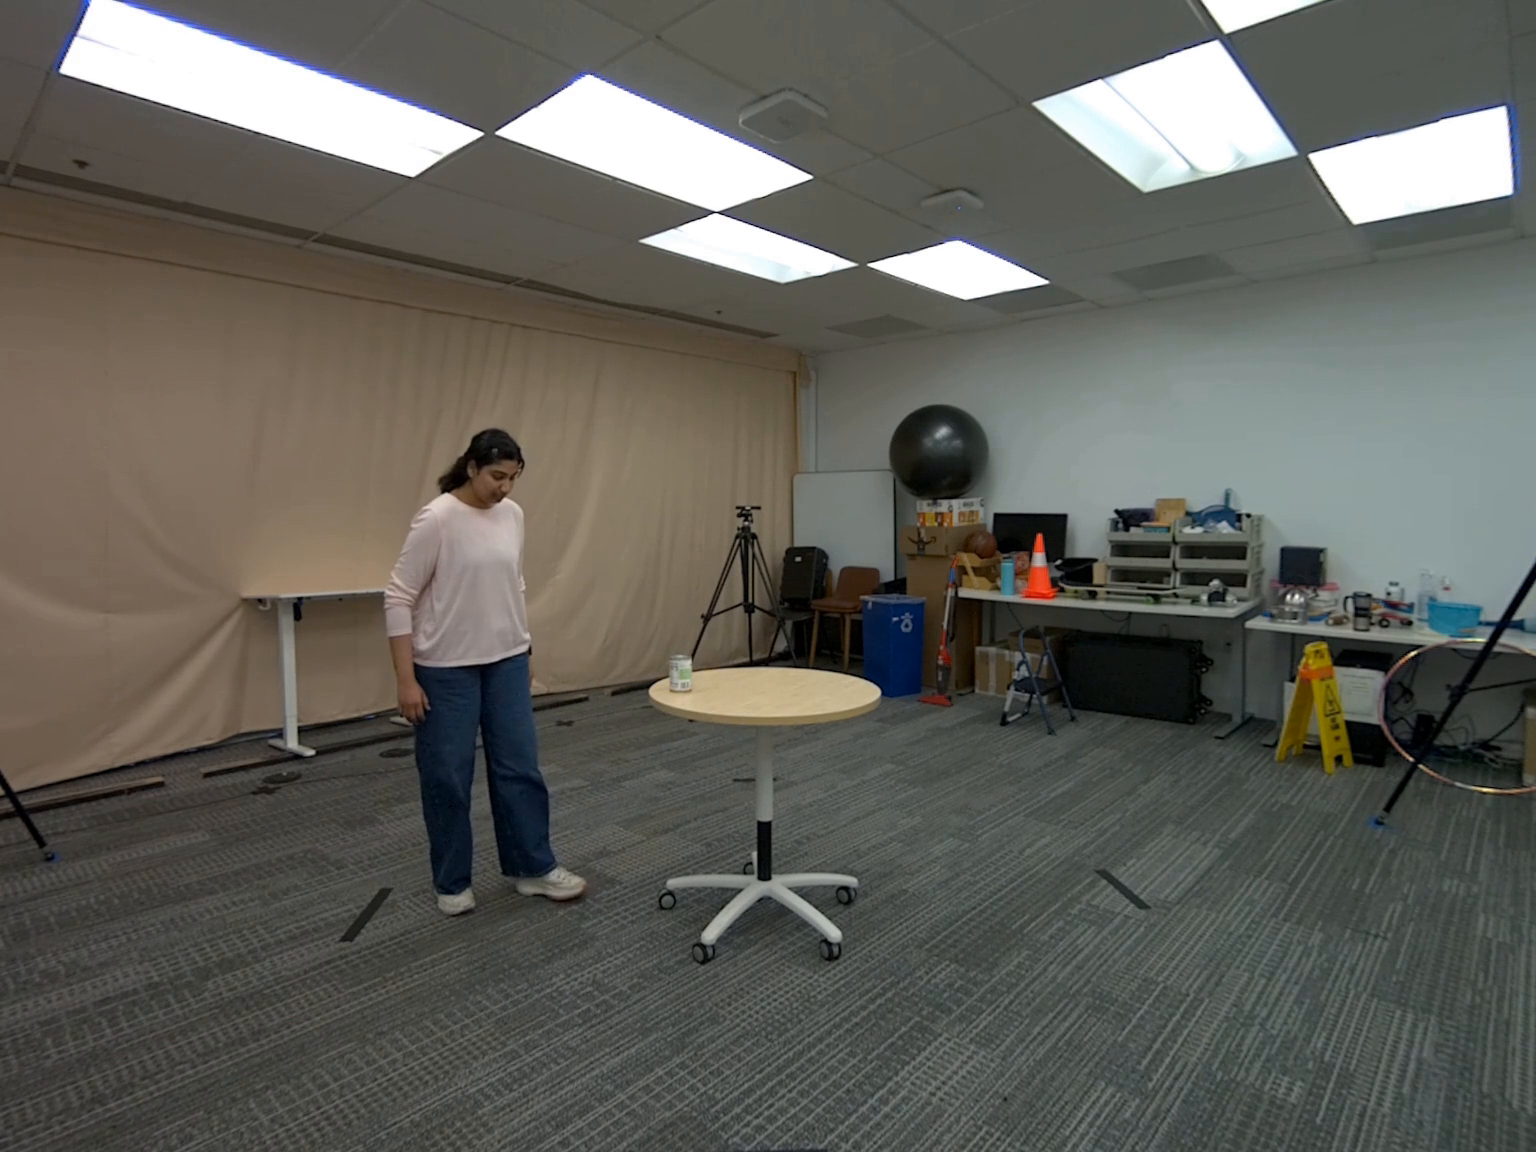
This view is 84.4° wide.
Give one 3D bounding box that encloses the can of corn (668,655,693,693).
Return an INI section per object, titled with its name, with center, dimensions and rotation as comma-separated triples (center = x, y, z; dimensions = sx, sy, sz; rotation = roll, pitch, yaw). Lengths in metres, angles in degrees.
[can of corn]
center = -0.282, 0.324, 2.767
dimensions = 0.074, 0.111, 0.074
rotation = 0, 1, -2
